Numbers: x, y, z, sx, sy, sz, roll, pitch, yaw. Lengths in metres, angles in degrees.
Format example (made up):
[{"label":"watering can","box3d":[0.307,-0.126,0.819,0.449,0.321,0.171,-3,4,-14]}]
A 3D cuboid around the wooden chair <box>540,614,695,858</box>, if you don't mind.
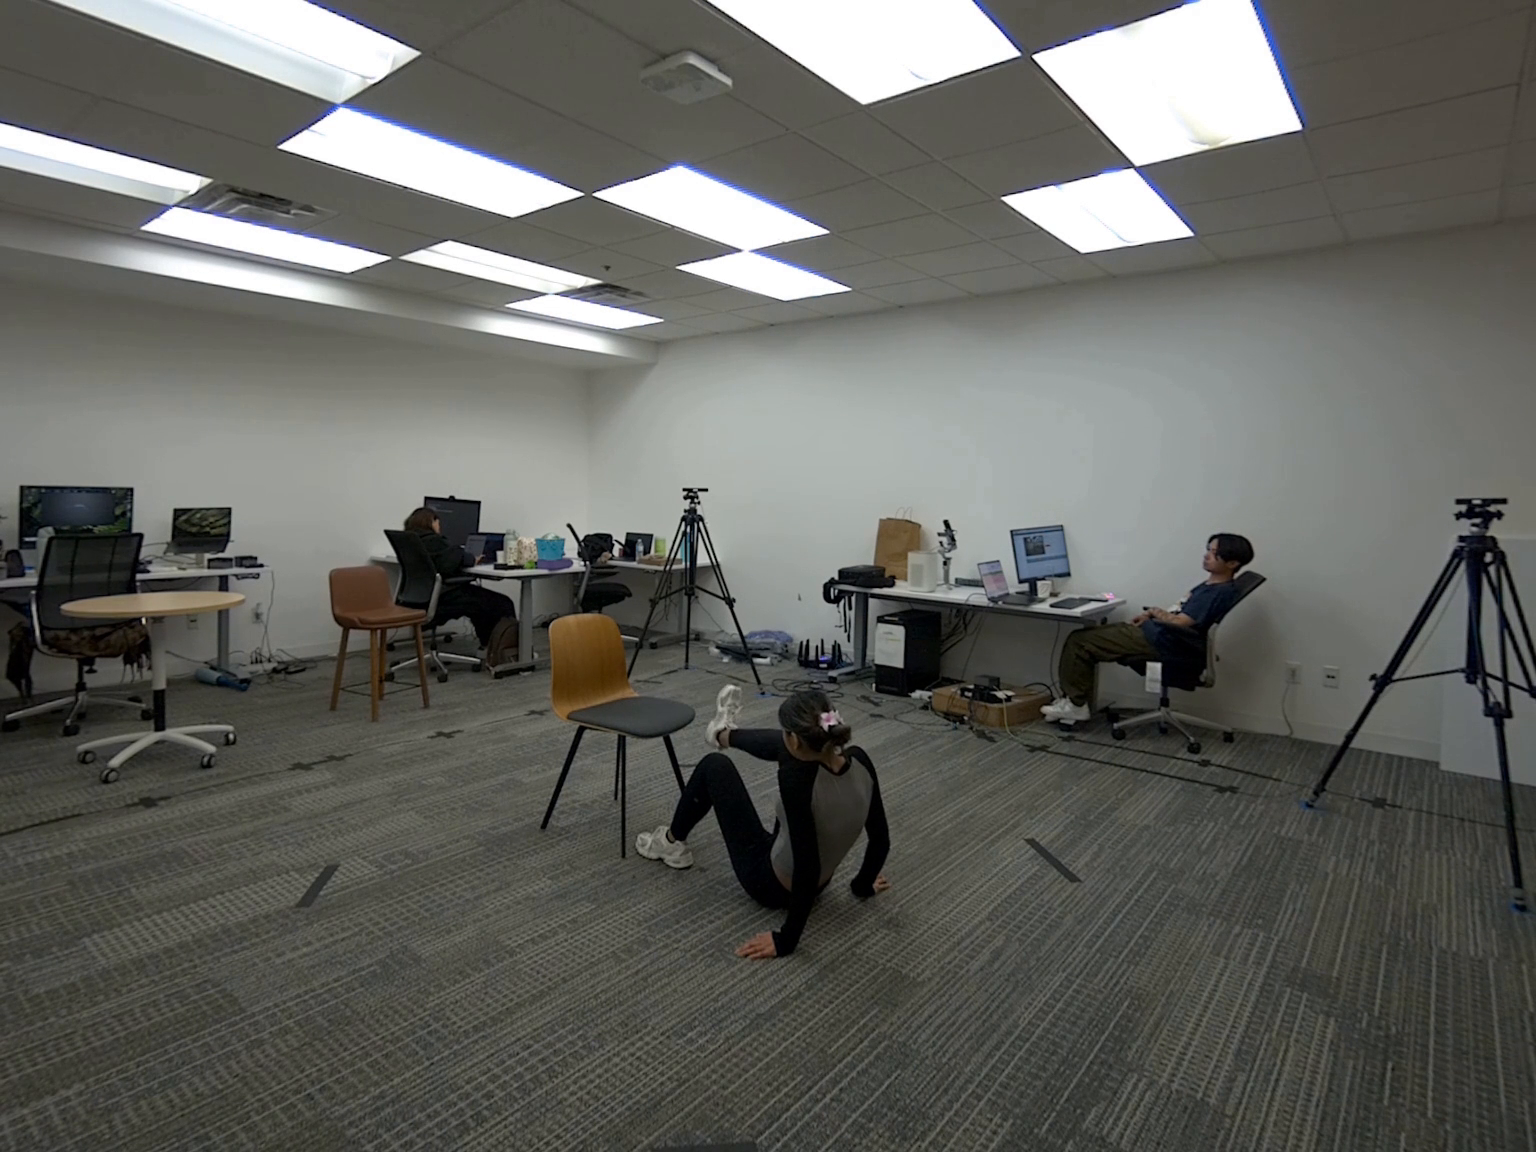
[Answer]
[{"label":"wooden chair","box3d":[-0.607,0.599,3.466,0.538,0.877,0.464,-2,0,34]}]
